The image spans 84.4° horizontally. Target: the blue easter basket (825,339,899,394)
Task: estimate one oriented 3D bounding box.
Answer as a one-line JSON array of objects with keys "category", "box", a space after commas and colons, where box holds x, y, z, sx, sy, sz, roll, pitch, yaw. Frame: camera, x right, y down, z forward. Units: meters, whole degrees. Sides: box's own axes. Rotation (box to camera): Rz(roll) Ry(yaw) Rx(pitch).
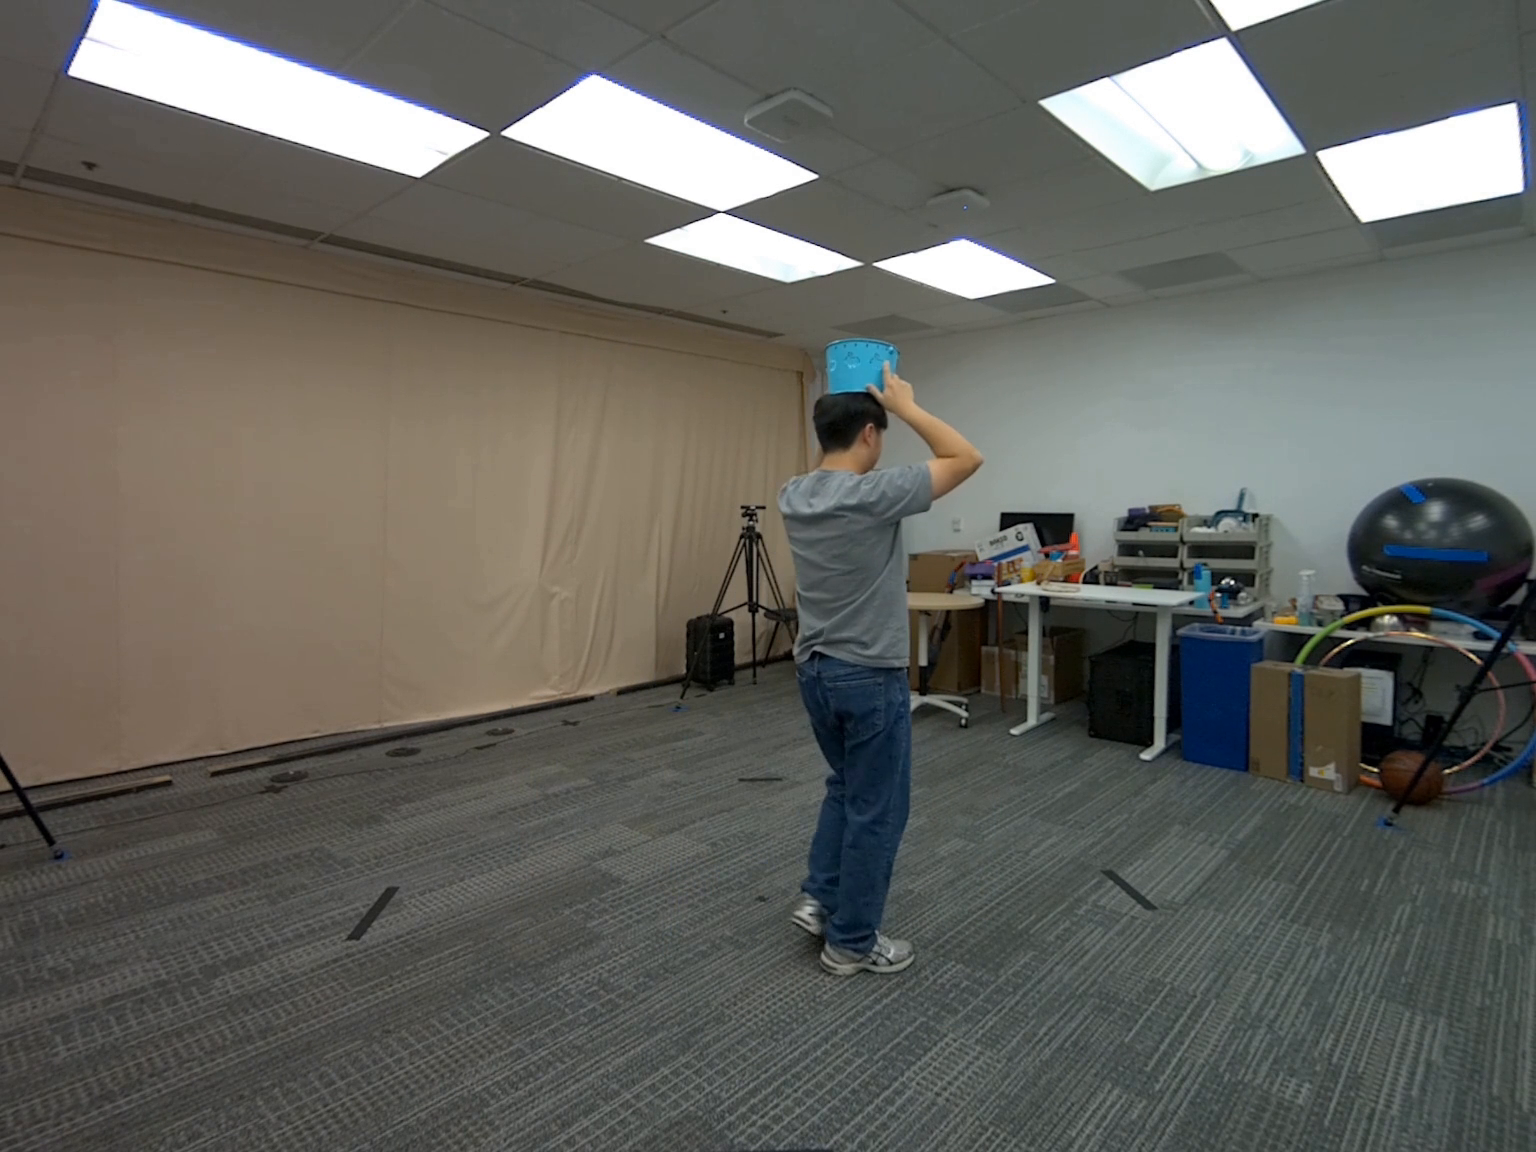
[{"category": "blue easter basket", "box": [0.284, -0.615, 2.588, 0.243, 0.156, 0.244, 7, -1, -2]}]
